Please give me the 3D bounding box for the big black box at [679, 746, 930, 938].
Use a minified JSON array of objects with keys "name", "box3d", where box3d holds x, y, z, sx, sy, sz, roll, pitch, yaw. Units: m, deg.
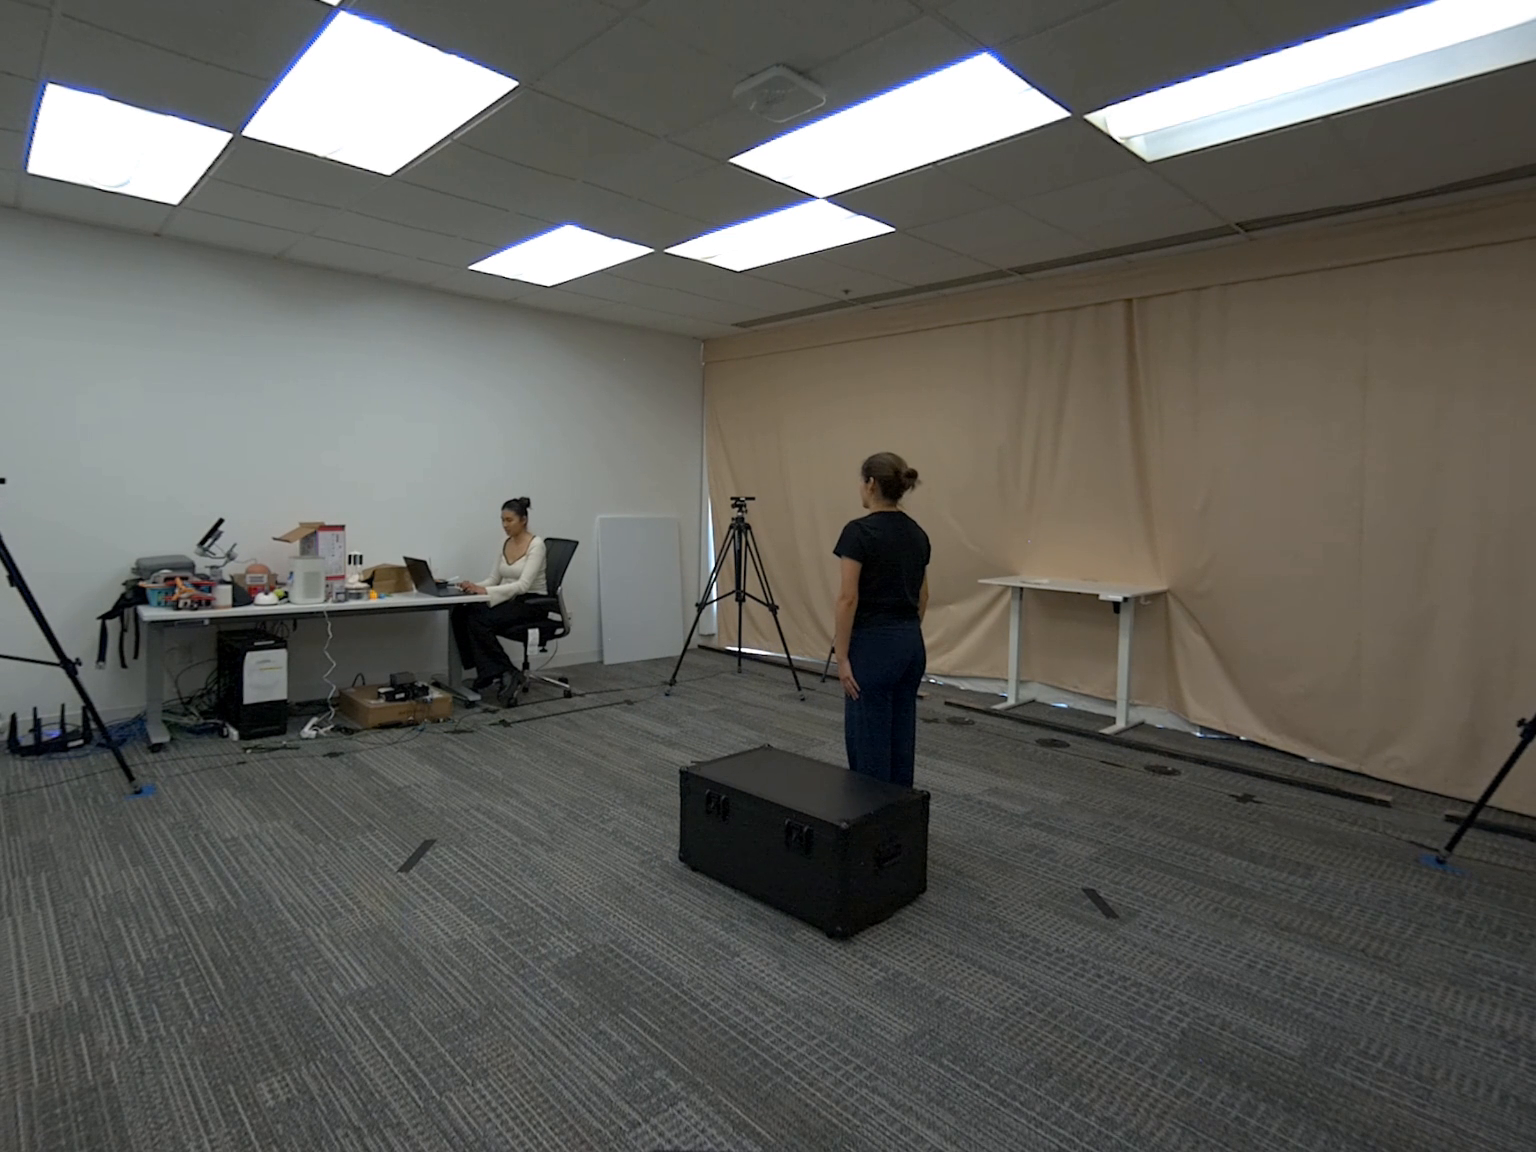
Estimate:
[{"name":"big black box","box3d":[0.087,0.927,3.067,0.884,0.395,0.509,6,6,43]}]
